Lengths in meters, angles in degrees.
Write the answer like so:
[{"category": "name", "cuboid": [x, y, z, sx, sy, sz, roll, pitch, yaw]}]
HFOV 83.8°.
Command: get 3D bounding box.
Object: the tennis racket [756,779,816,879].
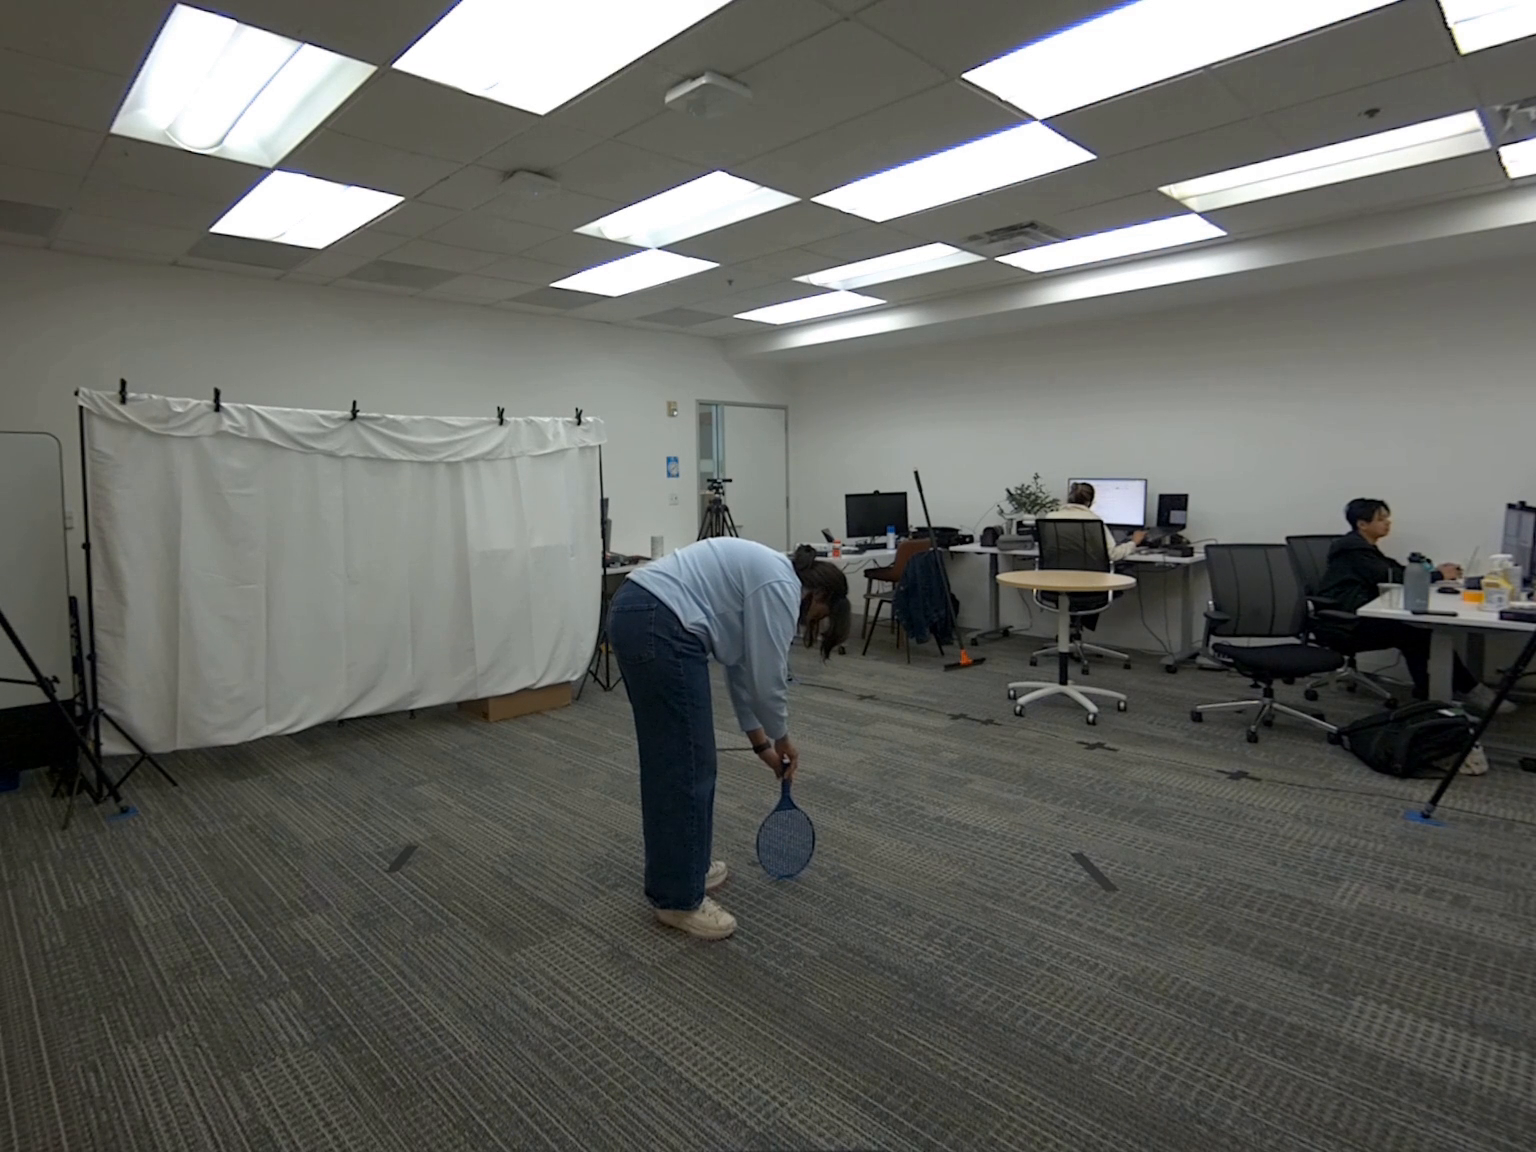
[{"category": "tennis racket", "cuboid": [0.059, 0.843, 2.956, 0.211, 0.429, 0.032, -2, 9, -11]}]
